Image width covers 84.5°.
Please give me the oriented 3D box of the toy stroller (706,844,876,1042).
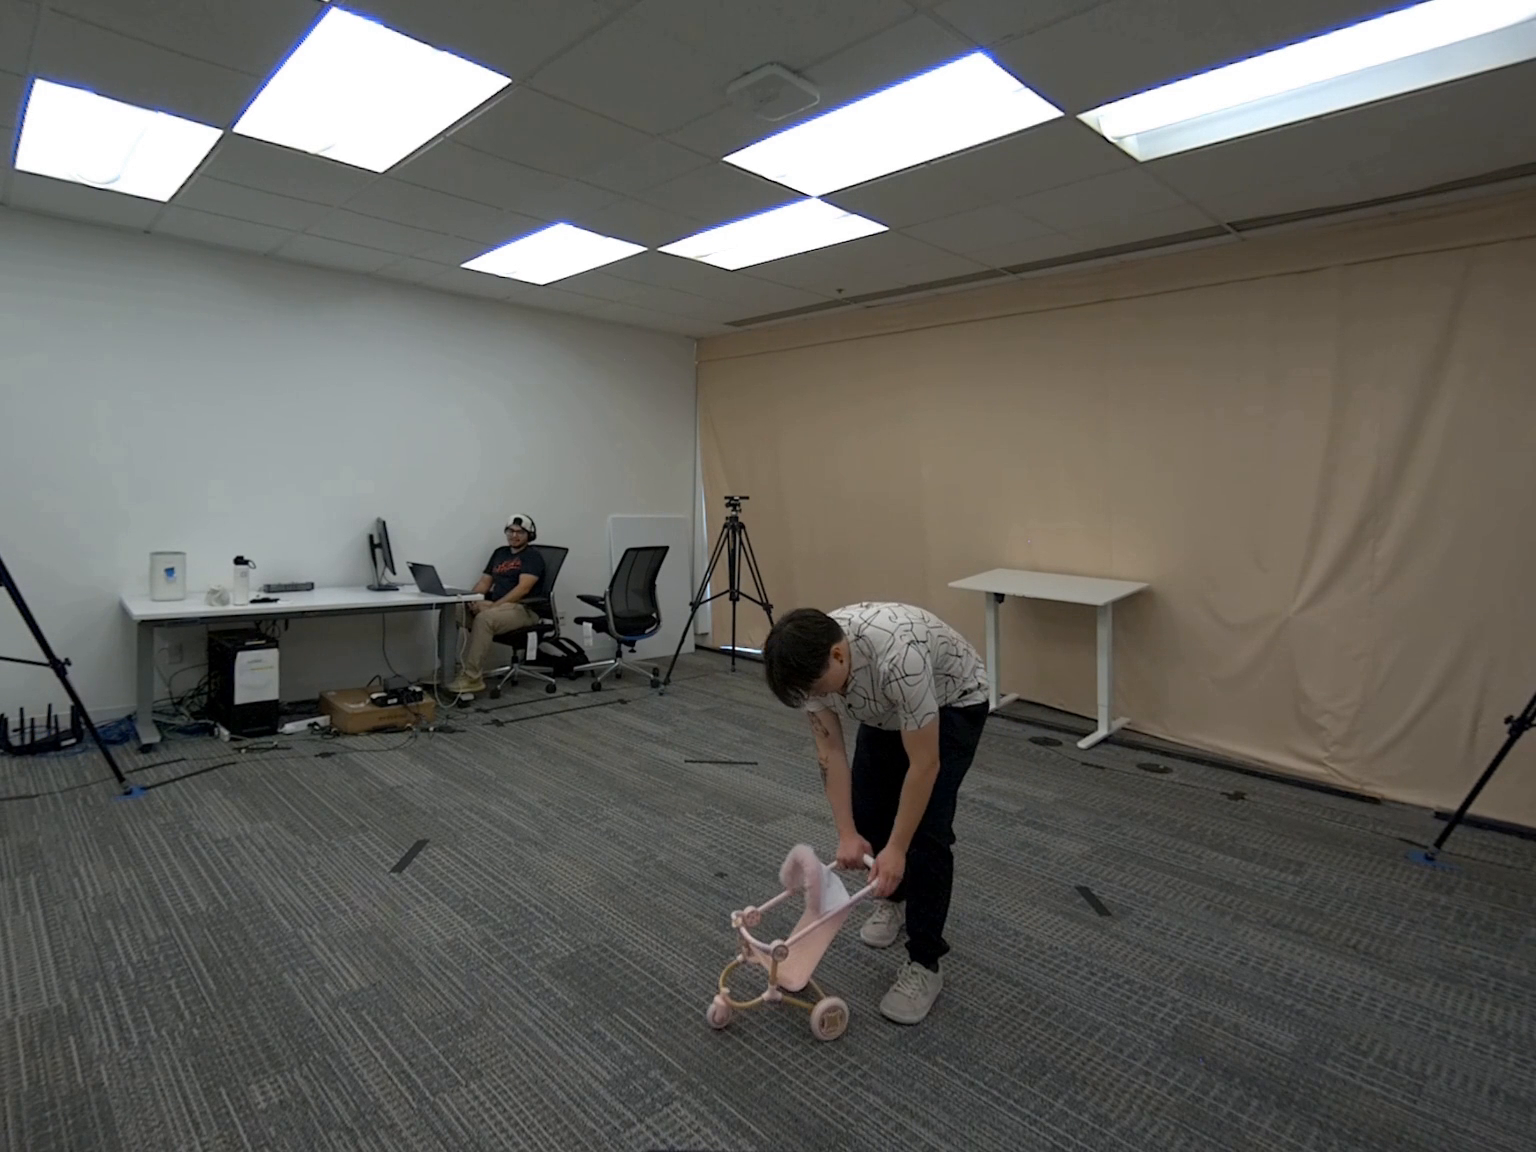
[{"bbox_3d":[0.066,0.969,2.266,0.336,0.535,0.285,21,-3,-16],"label":"toy stroller"}]
